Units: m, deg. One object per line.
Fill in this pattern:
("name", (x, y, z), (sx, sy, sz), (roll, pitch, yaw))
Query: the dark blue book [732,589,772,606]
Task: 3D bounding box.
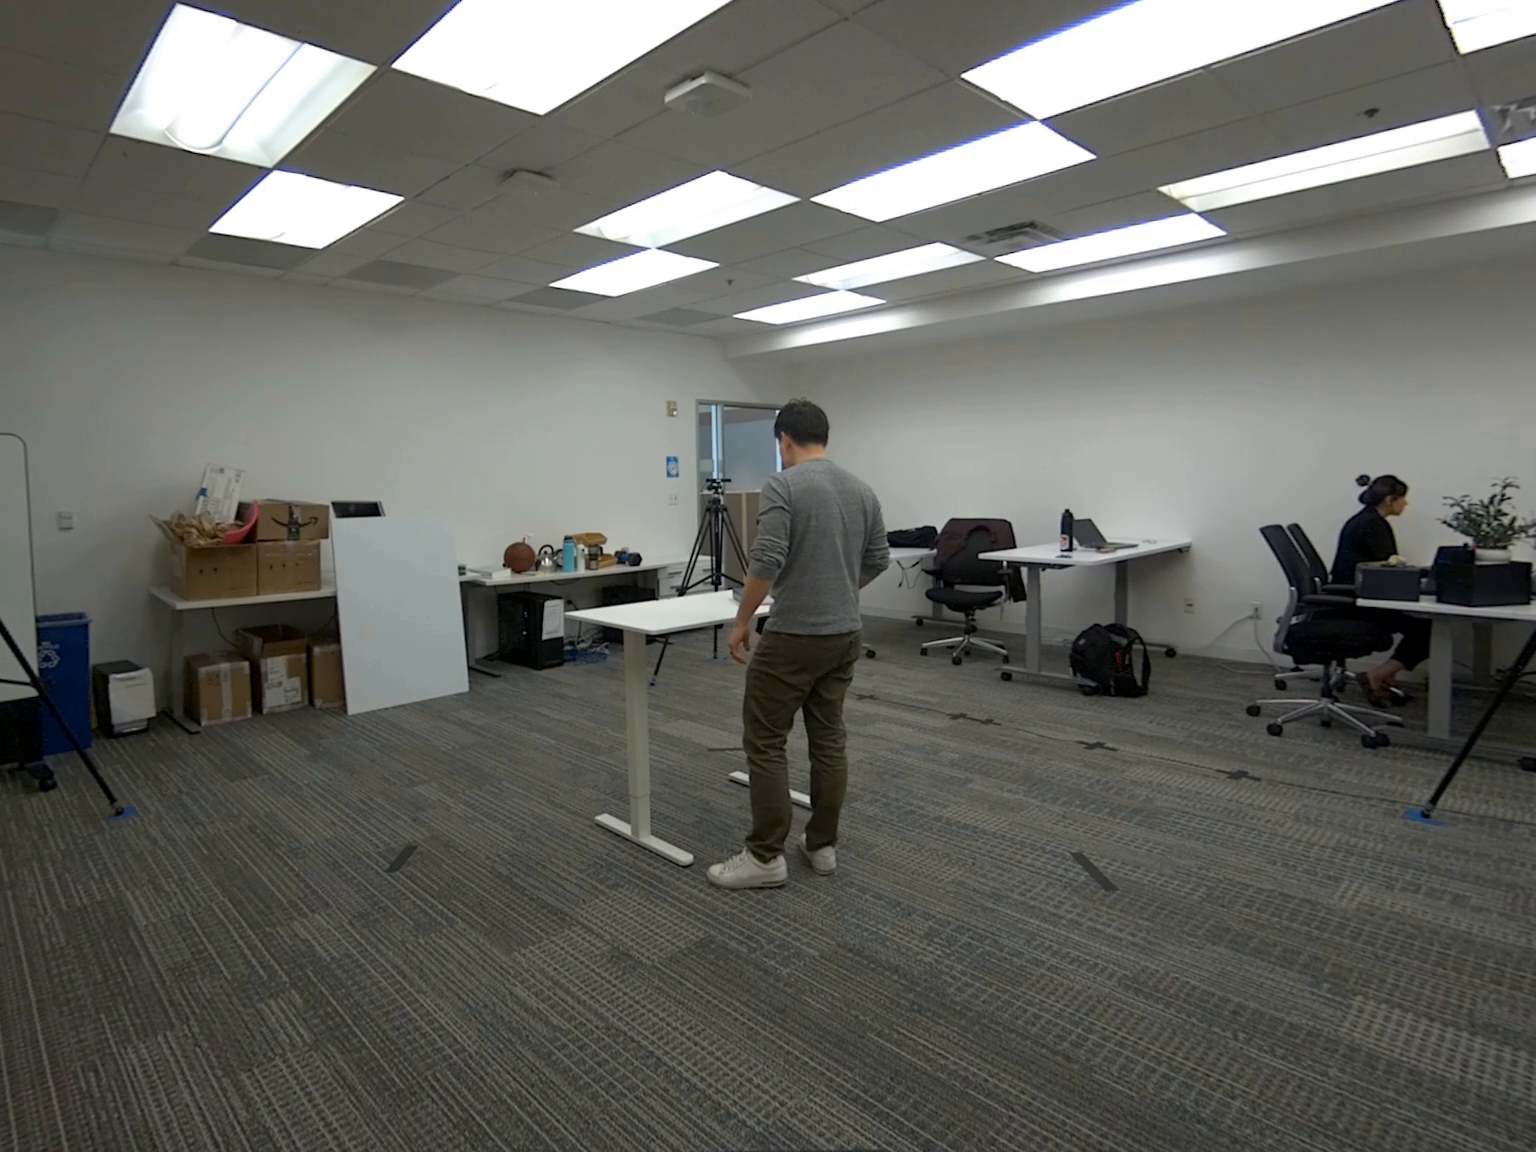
("dark blue book", (-0.052, 0.086, 3.599), (0.162, 0.045, 0.248), (-3, 5, -10))
